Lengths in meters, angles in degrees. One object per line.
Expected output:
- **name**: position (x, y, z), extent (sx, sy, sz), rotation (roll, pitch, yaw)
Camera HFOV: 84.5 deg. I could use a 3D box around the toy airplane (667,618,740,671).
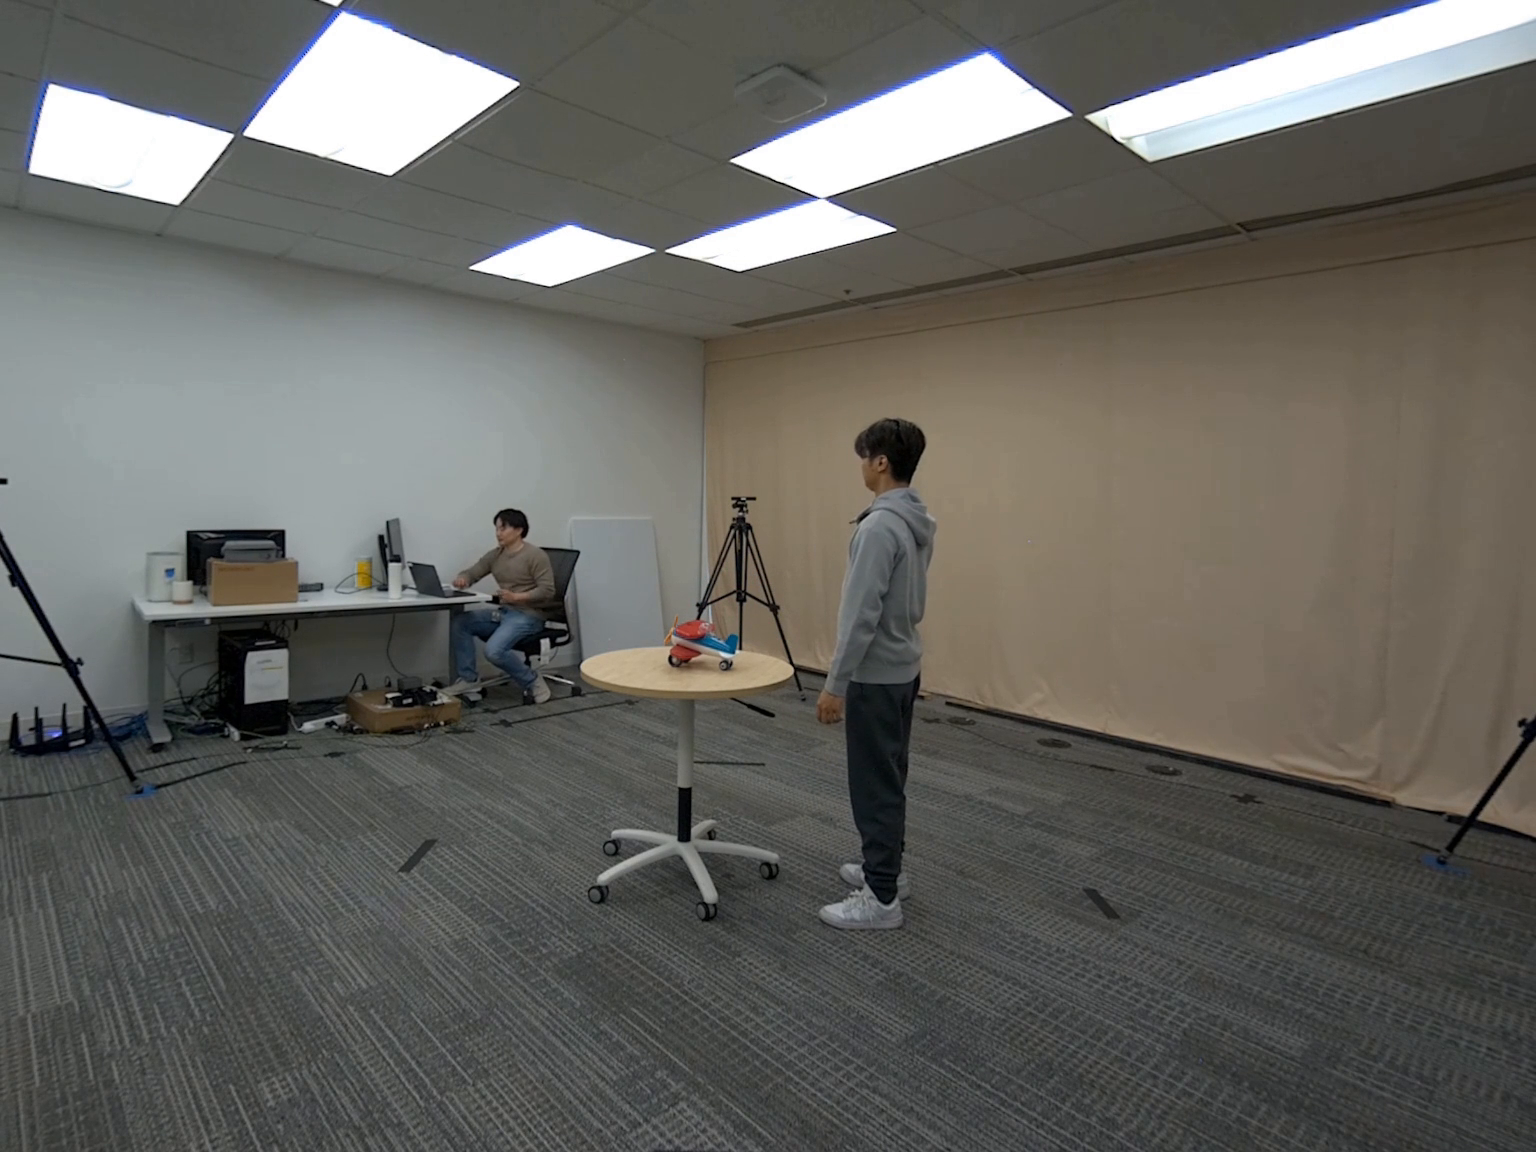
- **toy airplane**: position (-0.230, 0.250, 3.045), extent (0.257, 0.156, 0.254), rotation (1, 5, -11)
